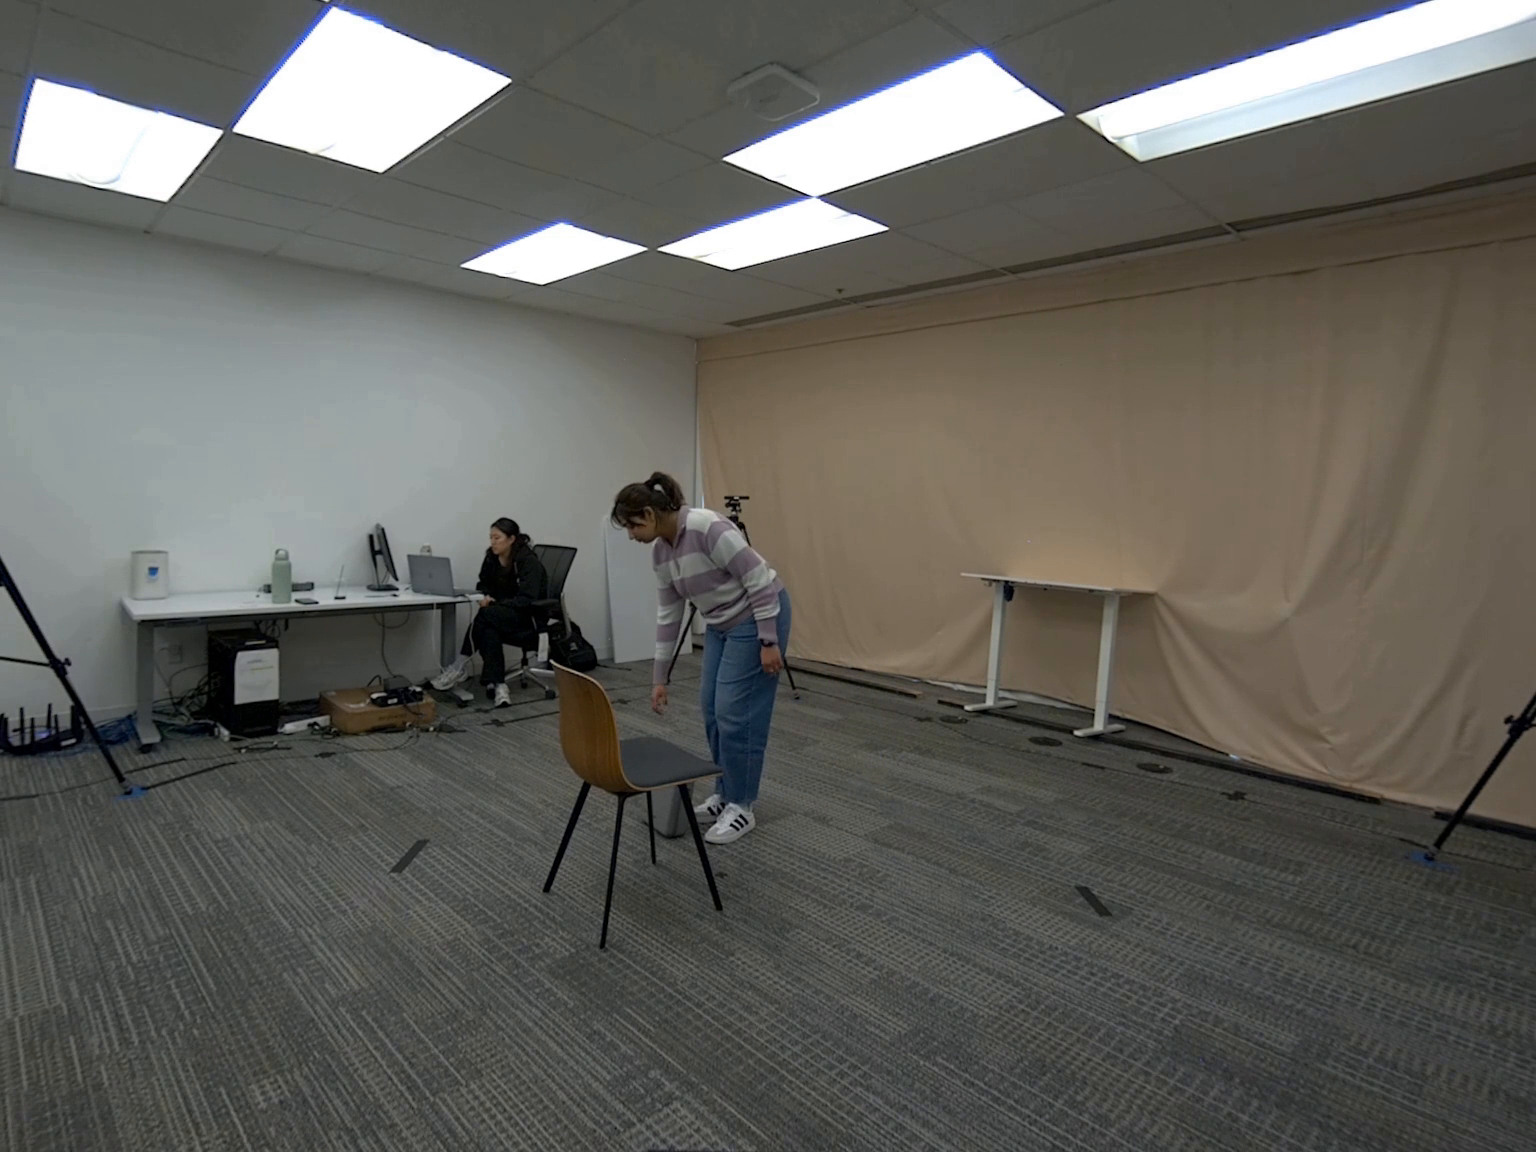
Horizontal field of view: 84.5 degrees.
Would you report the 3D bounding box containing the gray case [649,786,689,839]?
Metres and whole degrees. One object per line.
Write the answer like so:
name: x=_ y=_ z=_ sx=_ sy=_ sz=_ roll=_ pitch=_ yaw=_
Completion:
gray case: x=-0.435 y=0.928 z=3.532 sx=0.102 sy=0.261 sz=0.262 roll=6 pitch=-1 yaw=-30
